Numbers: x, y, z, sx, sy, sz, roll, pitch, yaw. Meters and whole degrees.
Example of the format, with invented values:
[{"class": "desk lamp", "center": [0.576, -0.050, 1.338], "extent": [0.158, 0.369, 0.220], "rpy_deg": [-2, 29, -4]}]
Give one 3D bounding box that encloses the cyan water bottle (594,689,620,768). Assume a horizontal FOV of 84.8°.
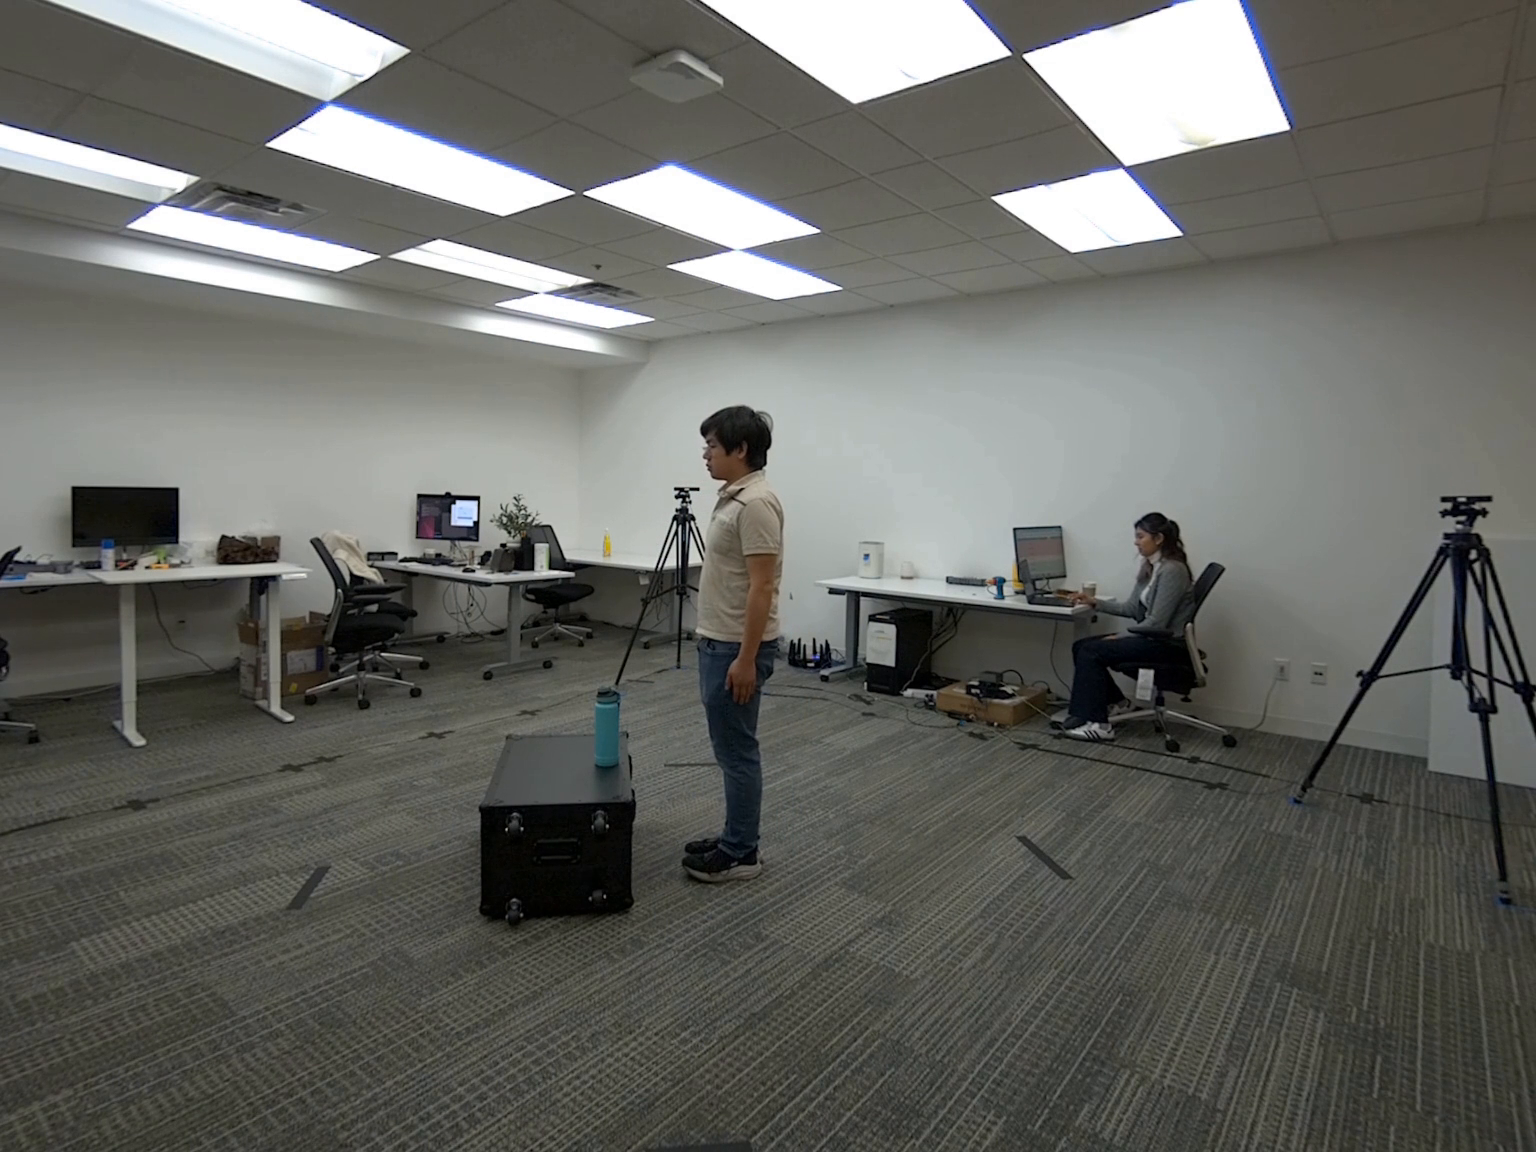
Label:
[{"class": "cyan water bottle", "center": [-0.604, 0.545, 3.133], "extent": [0.092, 0.283, 0.092], "rpy_deg": [2, 2, -2]}]
